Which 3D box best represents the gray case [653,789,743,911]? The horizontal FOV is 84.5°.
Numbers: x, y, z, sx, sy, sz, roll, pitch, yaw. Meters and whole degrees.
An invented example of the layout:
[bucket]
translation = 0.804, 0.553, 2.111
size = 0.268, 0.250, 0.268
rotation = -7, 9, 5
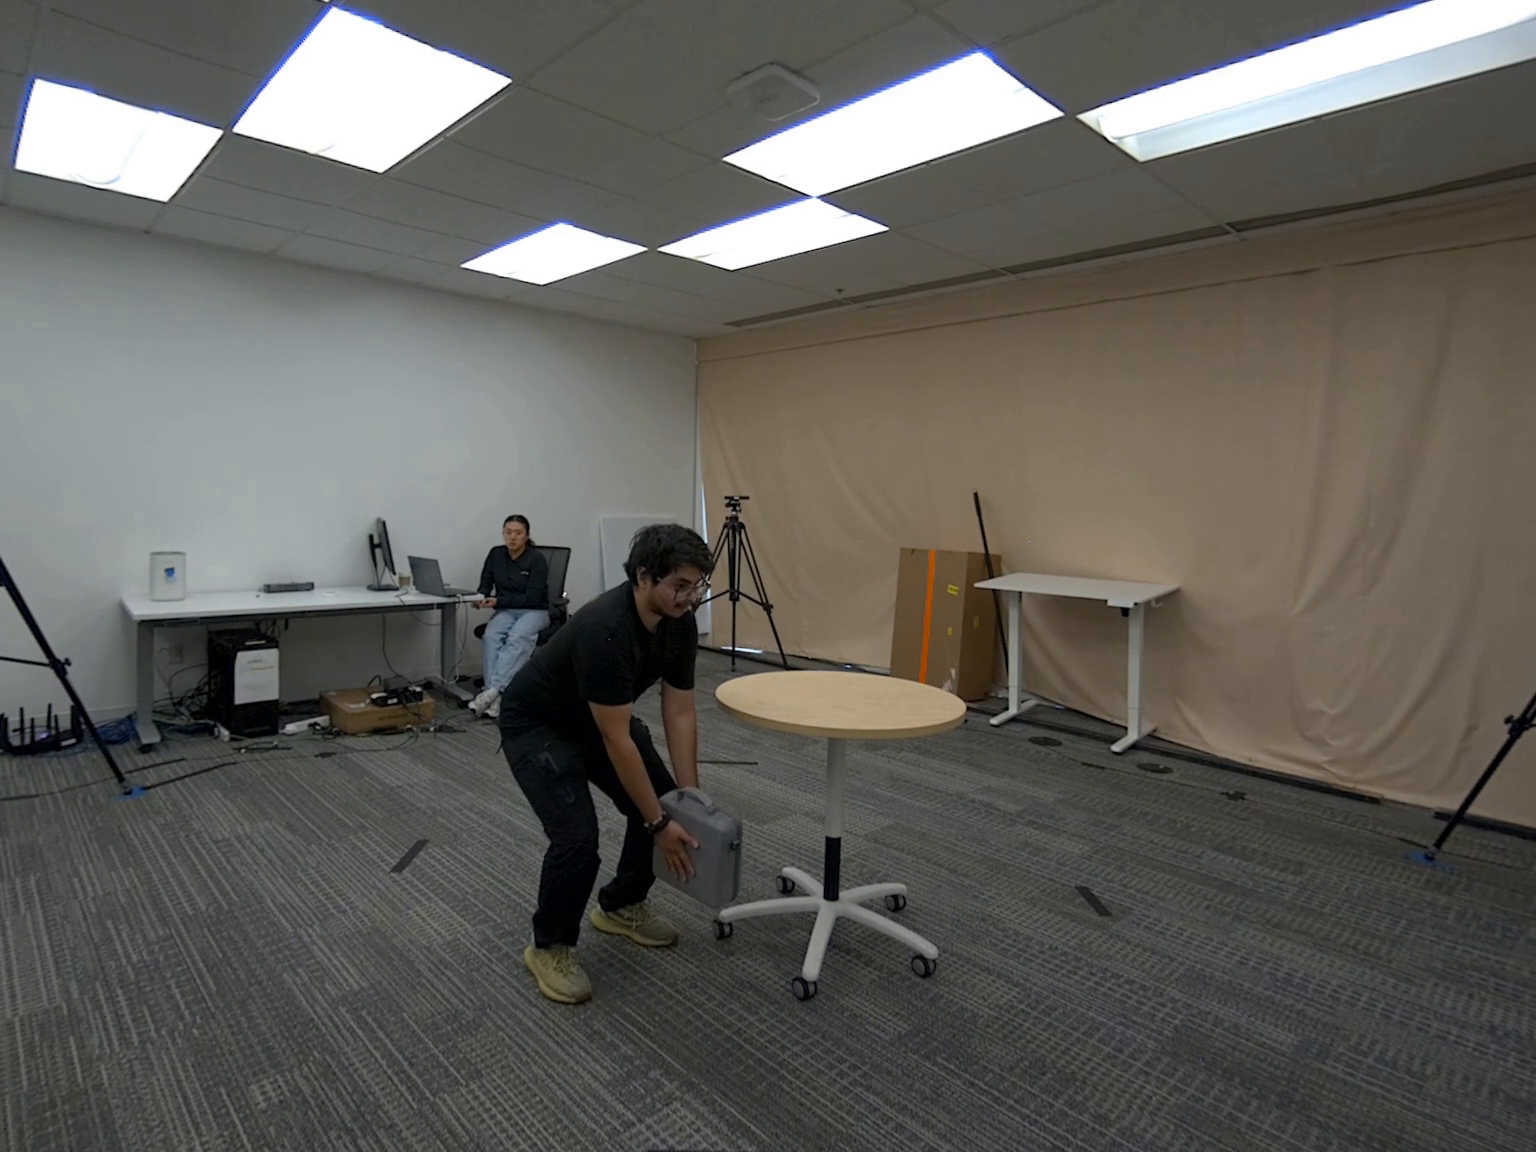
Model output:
[gray case]
translation = -0.199, 0.751, 2.308
size = 0.263, 0.259, 0.102
rotation = 10, 12, 34
